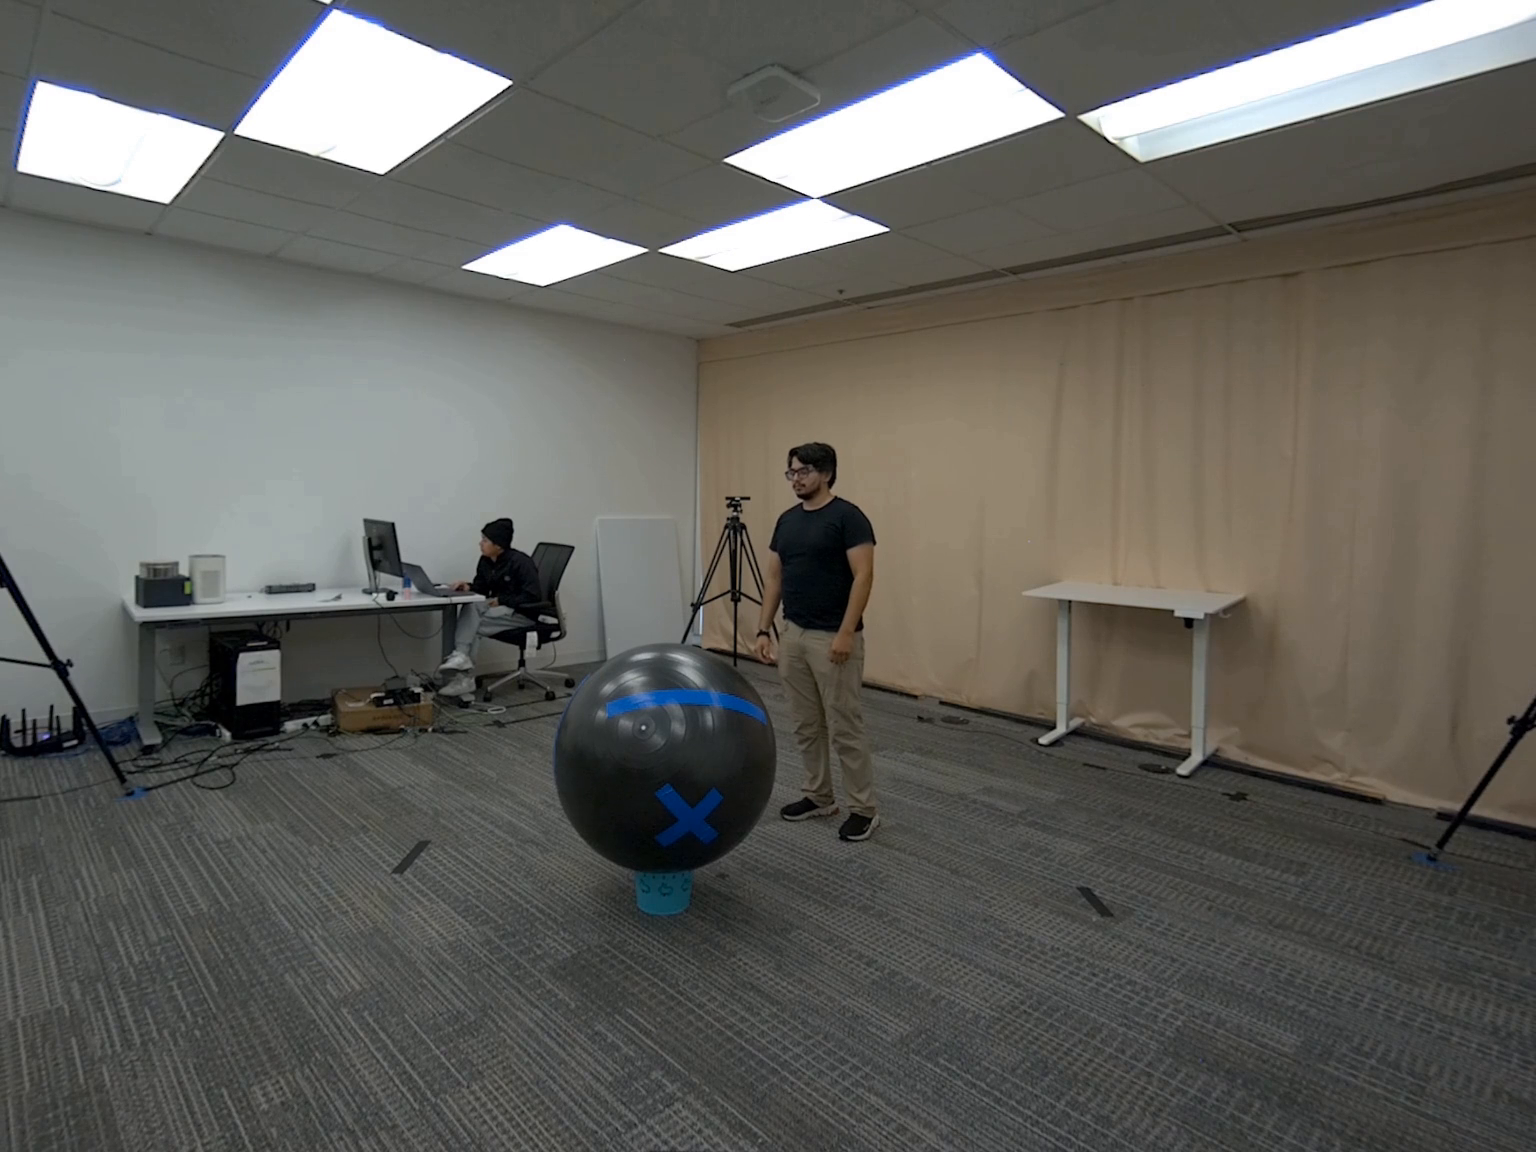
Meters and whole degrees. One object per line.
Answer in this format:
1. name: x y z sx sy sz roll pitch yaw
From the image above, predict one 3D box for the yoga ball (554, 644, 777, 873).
1. yoga ball: -0.351 0.618 2.868 0.757 0.756 0.761 1 4 -1
